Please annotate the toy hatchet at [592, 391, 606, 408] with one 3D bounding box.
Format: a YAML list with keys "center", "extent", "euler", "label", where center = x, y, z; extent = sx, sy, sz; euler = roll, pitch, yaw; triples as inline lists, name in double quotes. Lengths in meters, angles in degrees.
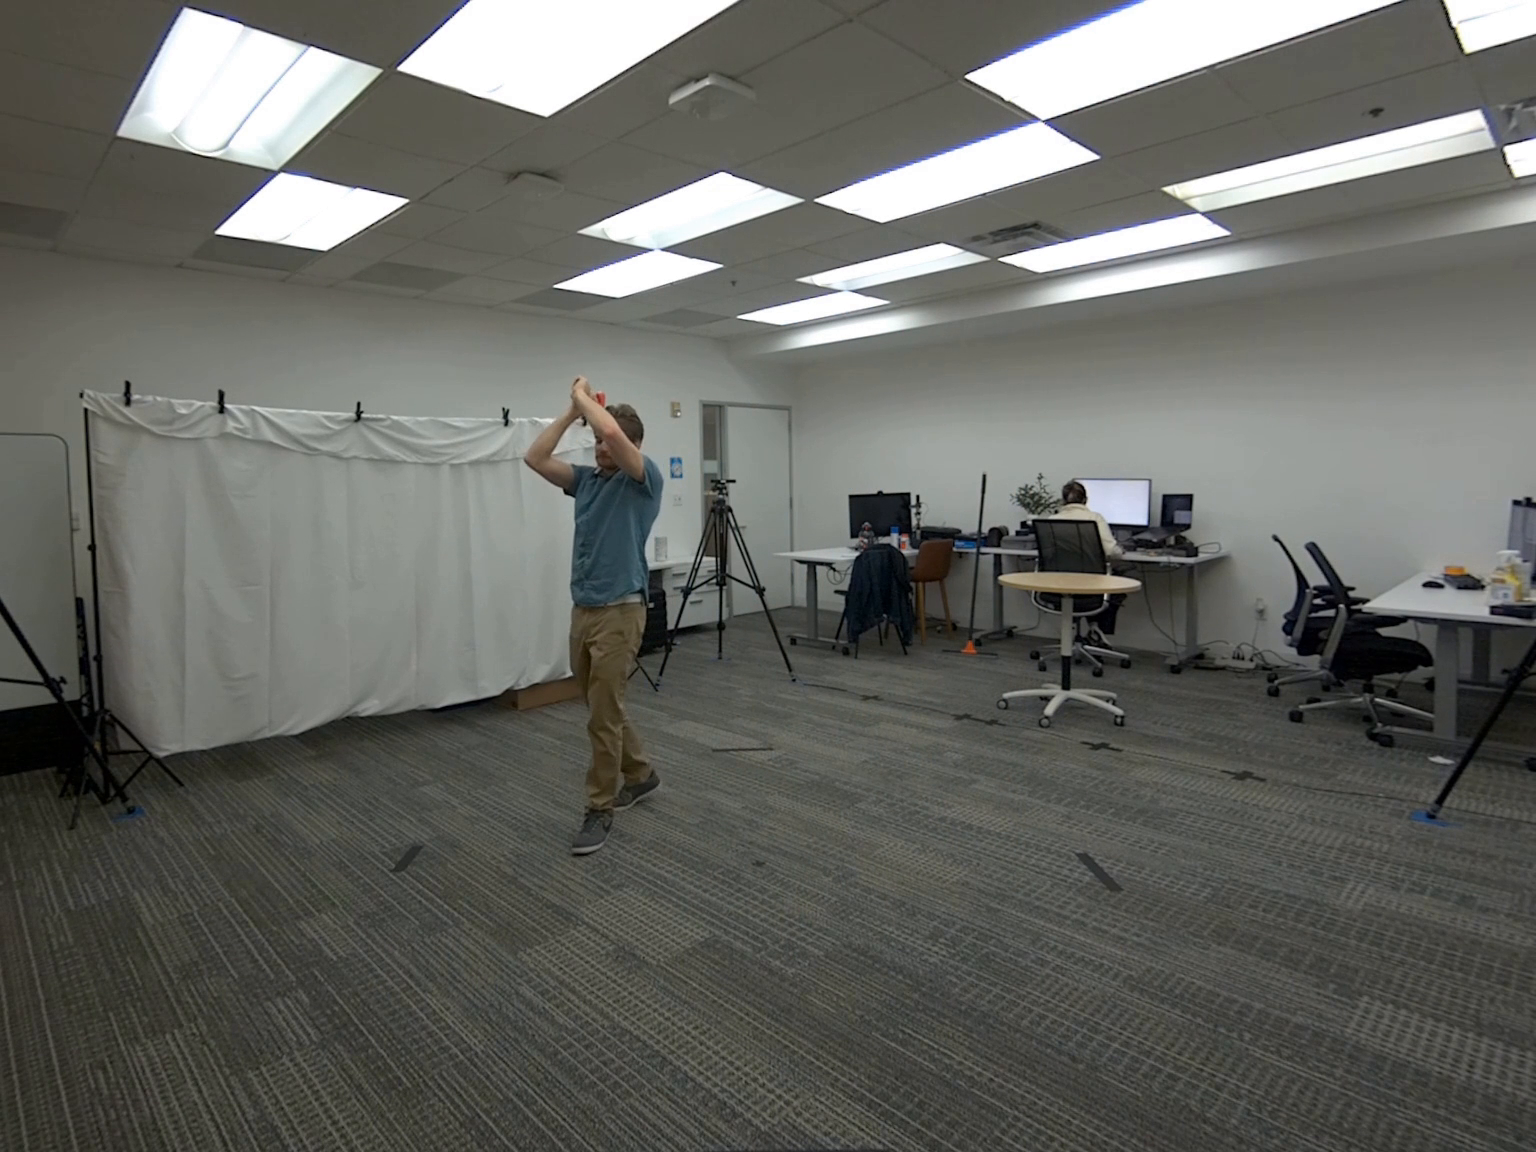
- center: [-0.716, -0.742, 3.479]
  extent: [0.030, 0.132, 0.262]
  euler: [11, -24, 14]
  label: "toy hatchet"
